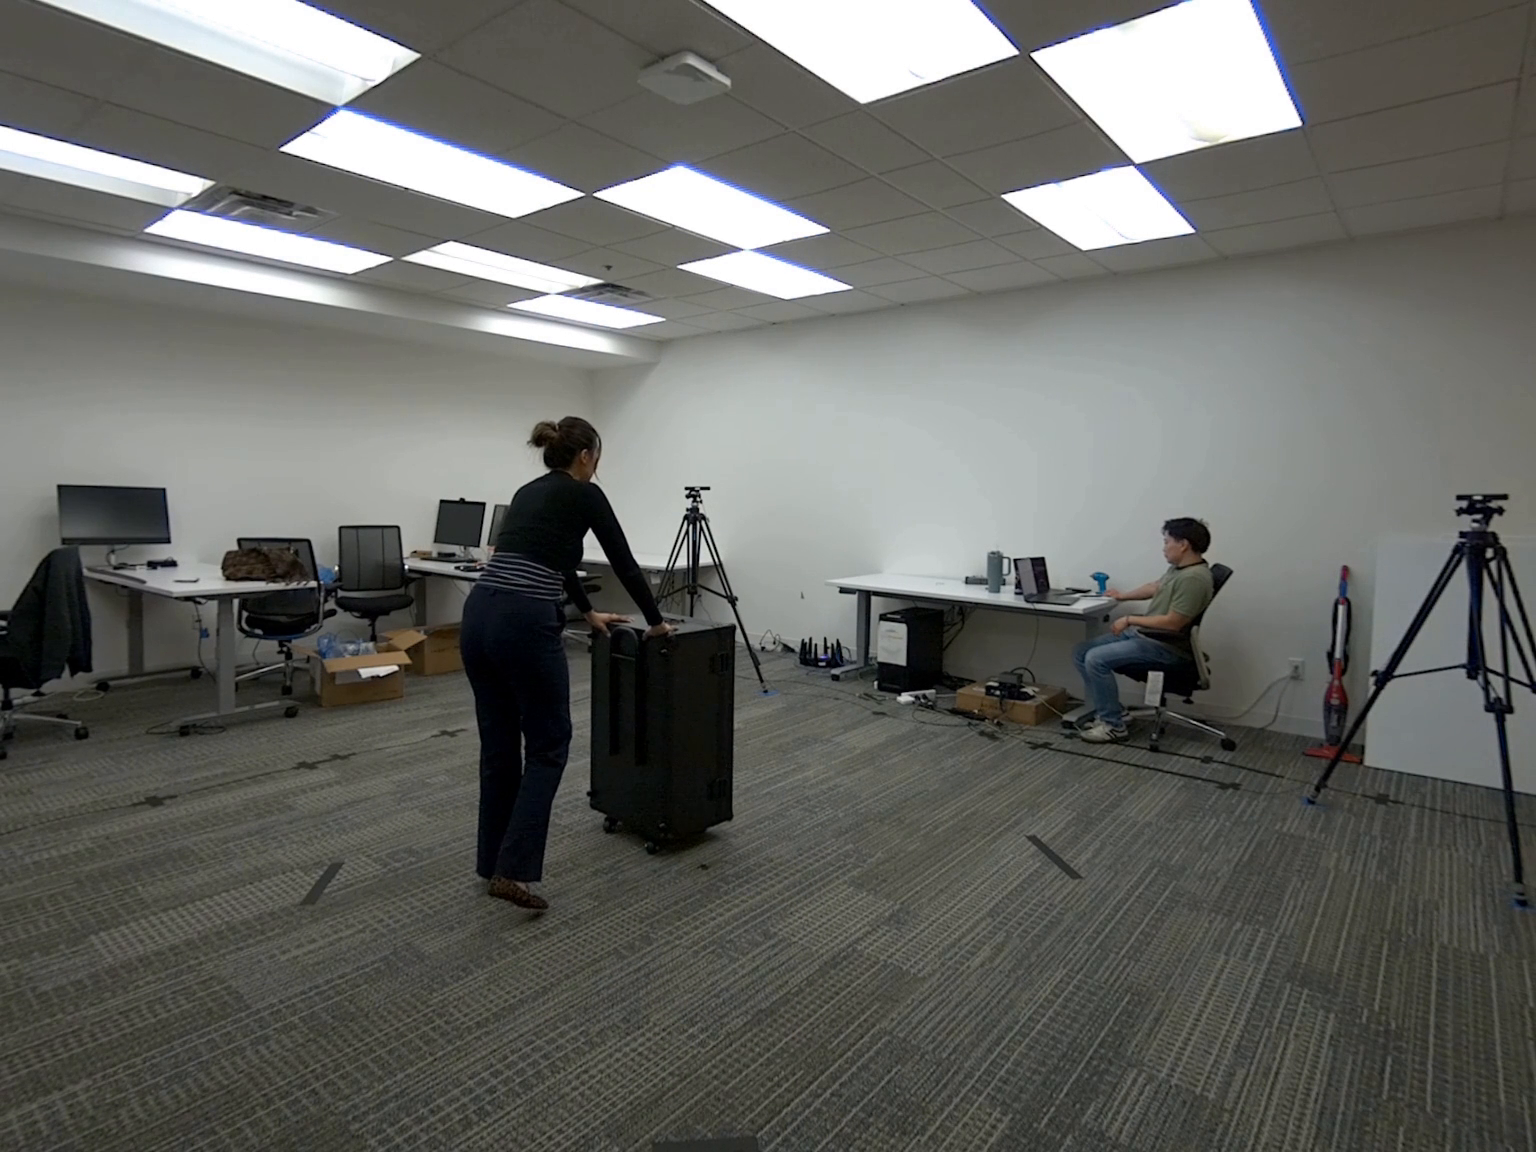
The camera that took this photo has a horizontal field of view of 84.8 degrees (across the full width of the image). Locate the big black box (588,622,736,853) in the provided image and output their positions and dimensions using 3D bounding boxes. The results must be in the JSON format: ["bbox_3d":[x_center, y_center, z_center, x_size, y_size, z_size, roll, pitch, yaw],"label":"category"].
[{"bbox_3d":[-0.444,0.605,3.411,0.539,0.859,0.384,4,5,44],"label":"big black box"}]
